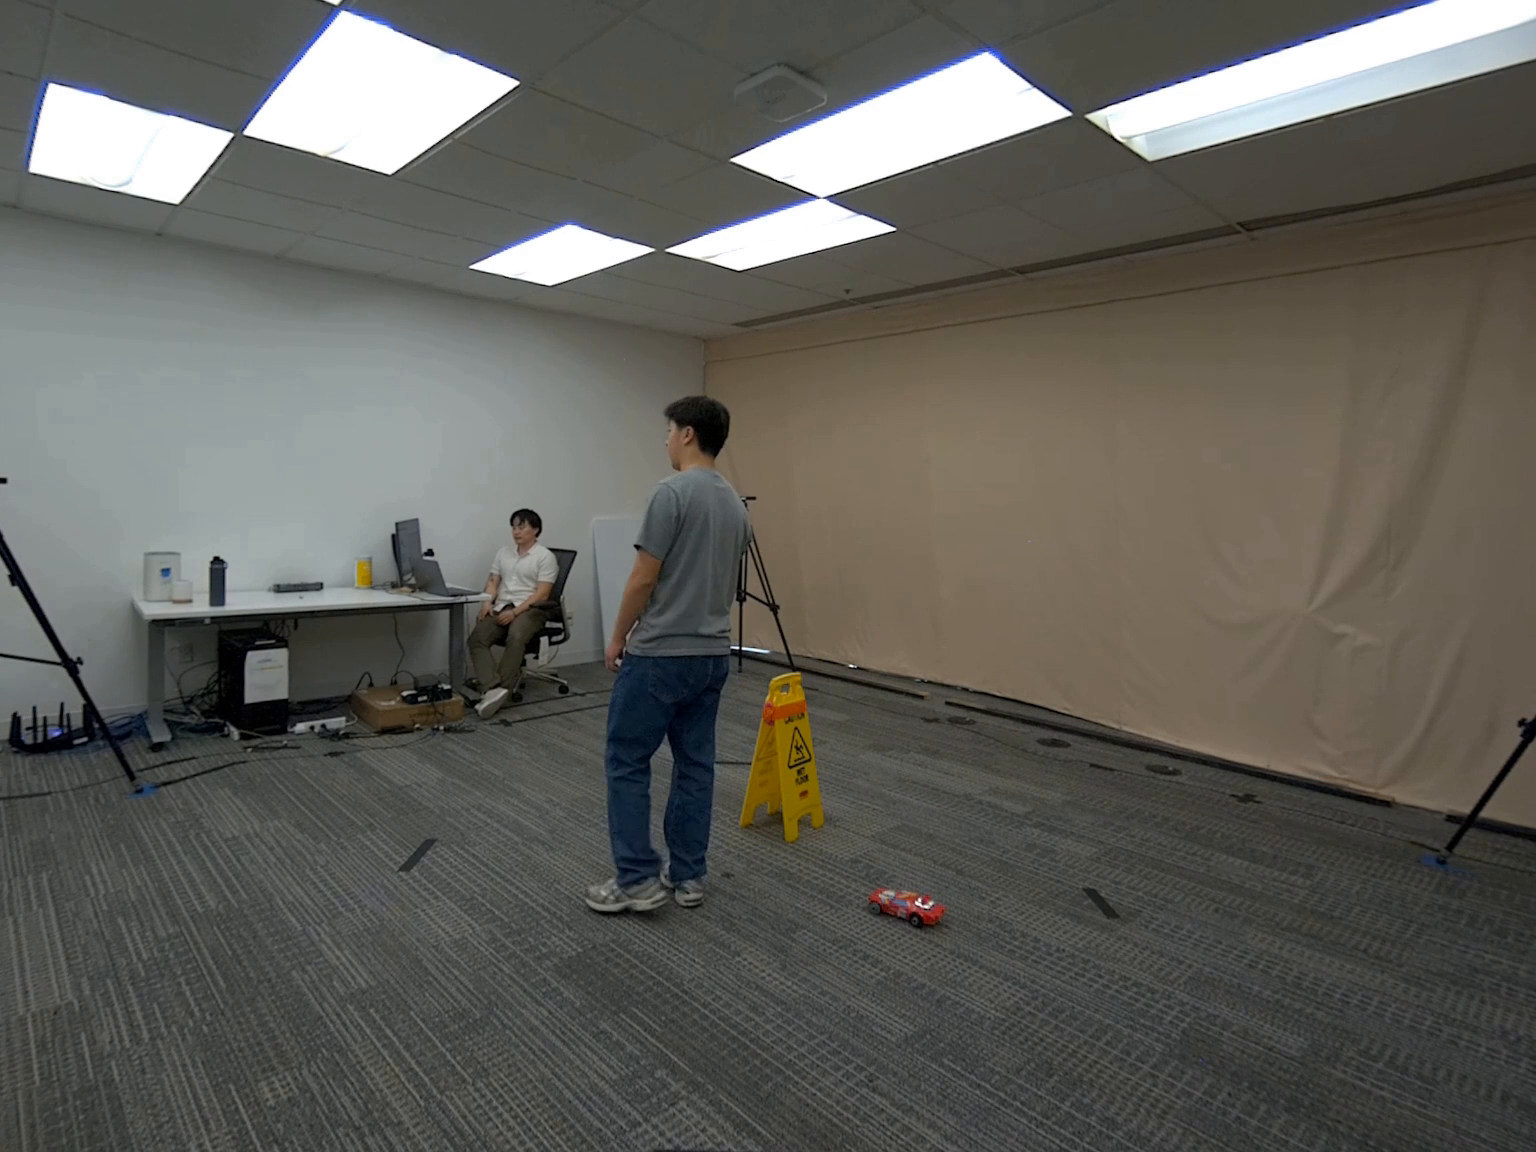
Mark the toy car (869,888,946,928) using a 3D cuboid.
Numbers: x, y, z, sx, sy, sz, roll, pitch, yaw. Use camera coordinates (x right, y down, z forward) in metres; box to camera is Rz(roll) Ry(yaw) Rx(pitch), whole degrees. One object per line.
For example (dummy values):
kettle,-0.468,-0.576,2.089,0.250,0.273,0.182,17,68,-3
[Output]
toy car,0.464,1.115,2.823,0.259,0.083,0.127,-7,-1,34
